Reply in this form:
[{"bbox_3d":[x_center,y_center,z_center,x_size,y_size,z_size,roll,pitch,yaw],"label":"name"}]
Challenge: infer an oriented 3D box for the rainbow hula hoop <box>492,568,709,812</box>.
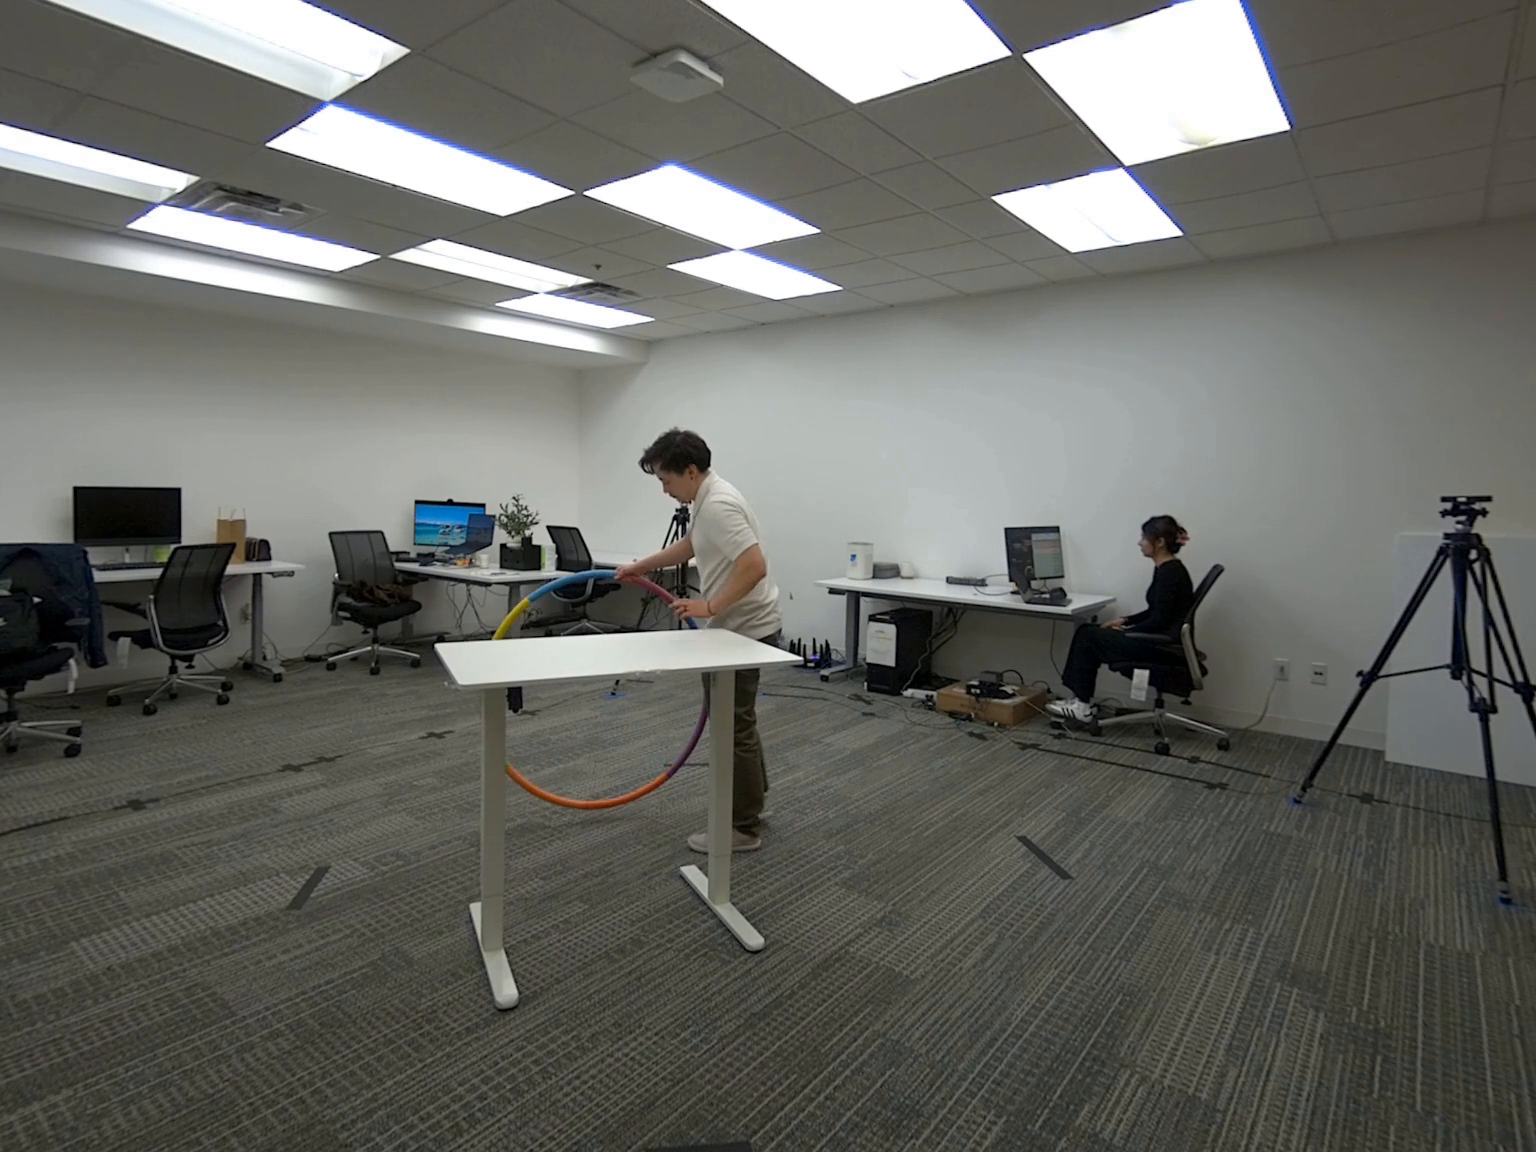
[{"bbox_3d":[-0.717,0.472,3.536,0.961,0.977,0.036,-1,2,-18],"label":"rainbow hula hoop"}]
